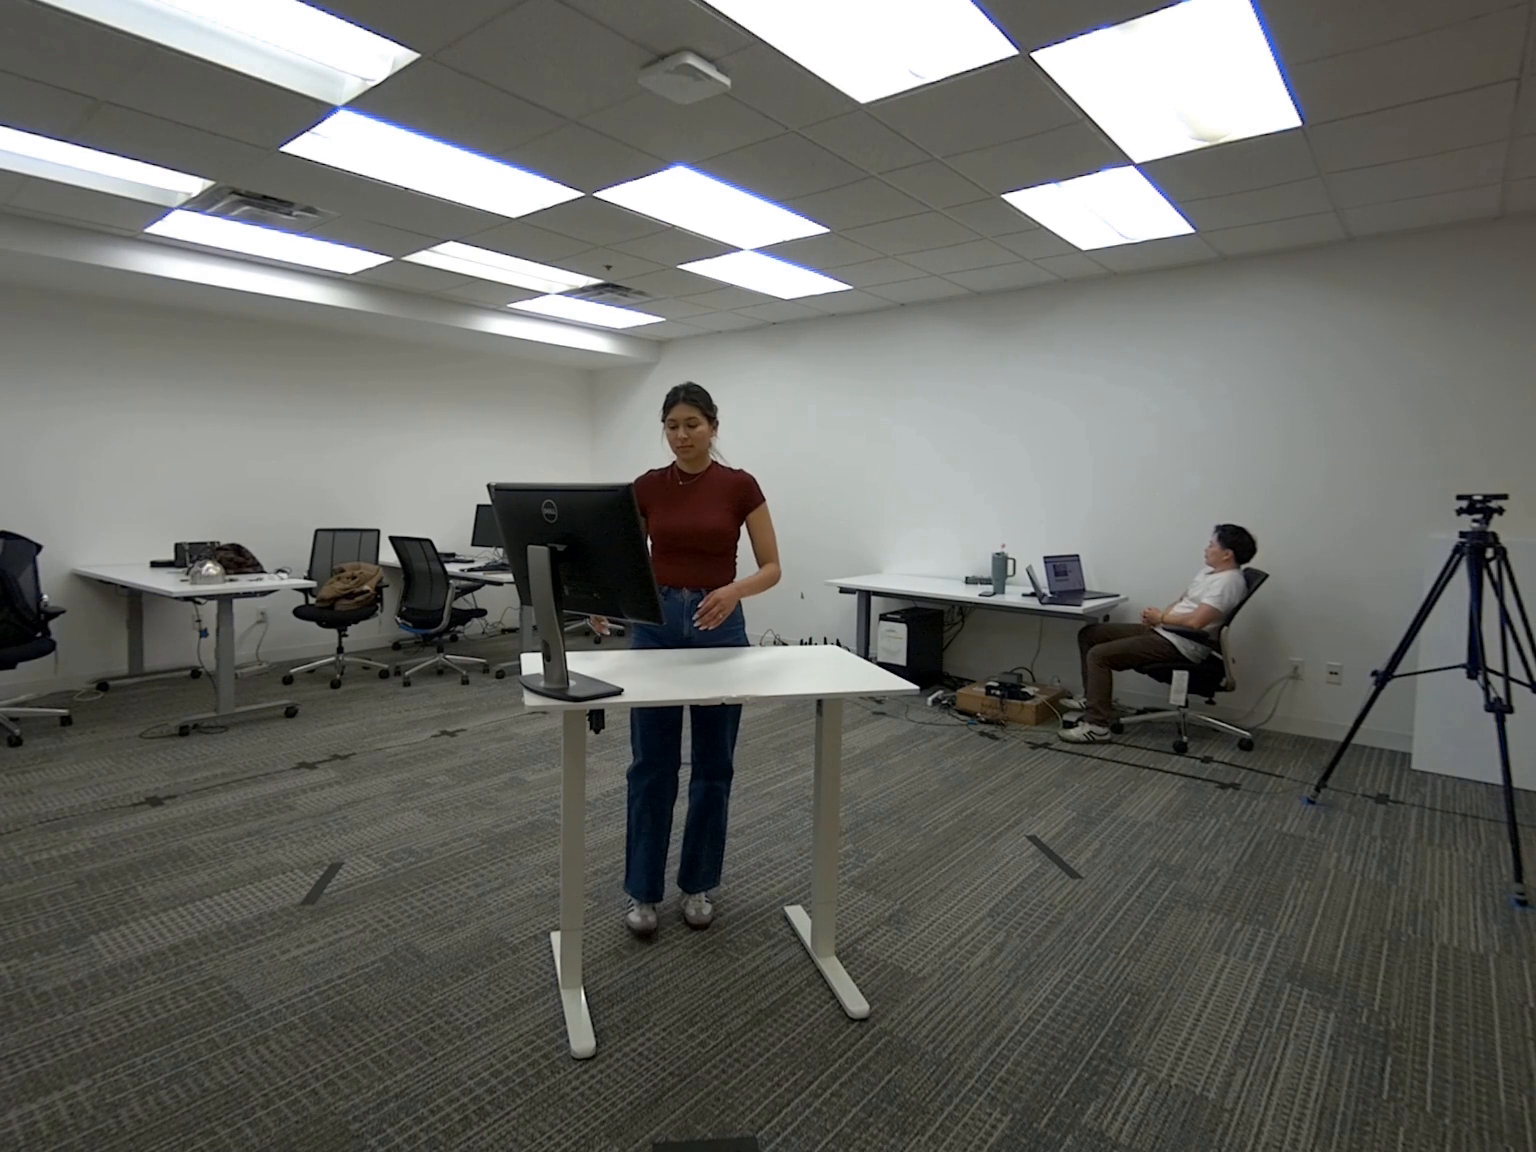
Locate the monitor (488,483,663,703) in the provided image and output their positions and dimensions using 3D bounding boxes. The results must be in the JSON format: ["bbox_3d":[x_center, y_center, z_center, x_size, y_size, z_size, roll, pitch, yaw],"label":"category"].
[{"bbox_3d":[-0.517,0.026,2.114,0.556,0.520,0.182,3,6,34],"label":"monitor"}]
